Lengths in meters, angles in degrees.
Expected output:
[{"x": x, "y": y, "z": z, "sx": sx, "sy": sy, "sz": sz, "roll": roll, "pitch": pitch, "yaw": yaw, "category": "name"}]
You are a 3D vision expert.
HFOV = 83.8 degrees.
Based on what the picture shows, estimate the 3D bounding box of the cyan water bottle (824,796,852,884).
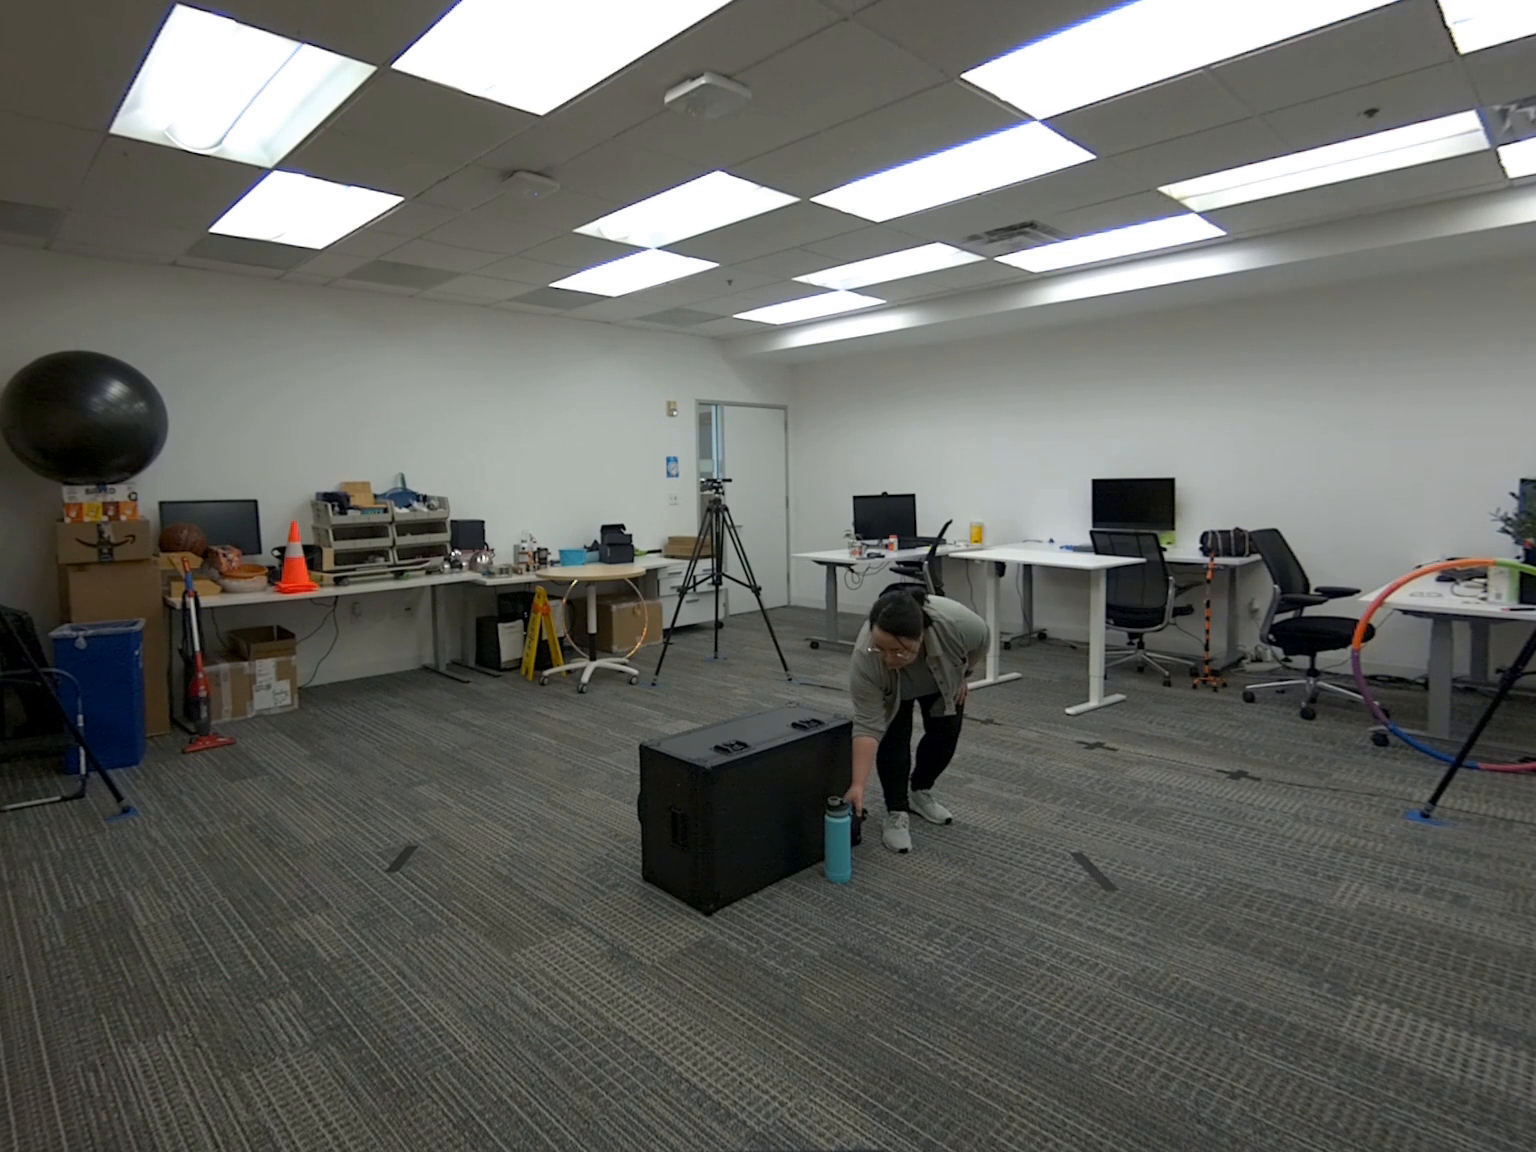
[{"x": 0.233, "y": 0.912, "z": 2.977, "sx": 0.092, "sy": 0.282, "sz": 0.093, "roll": 1, "pitch": 3, "yaw": -2, "category": "cyan water bottle"}]
